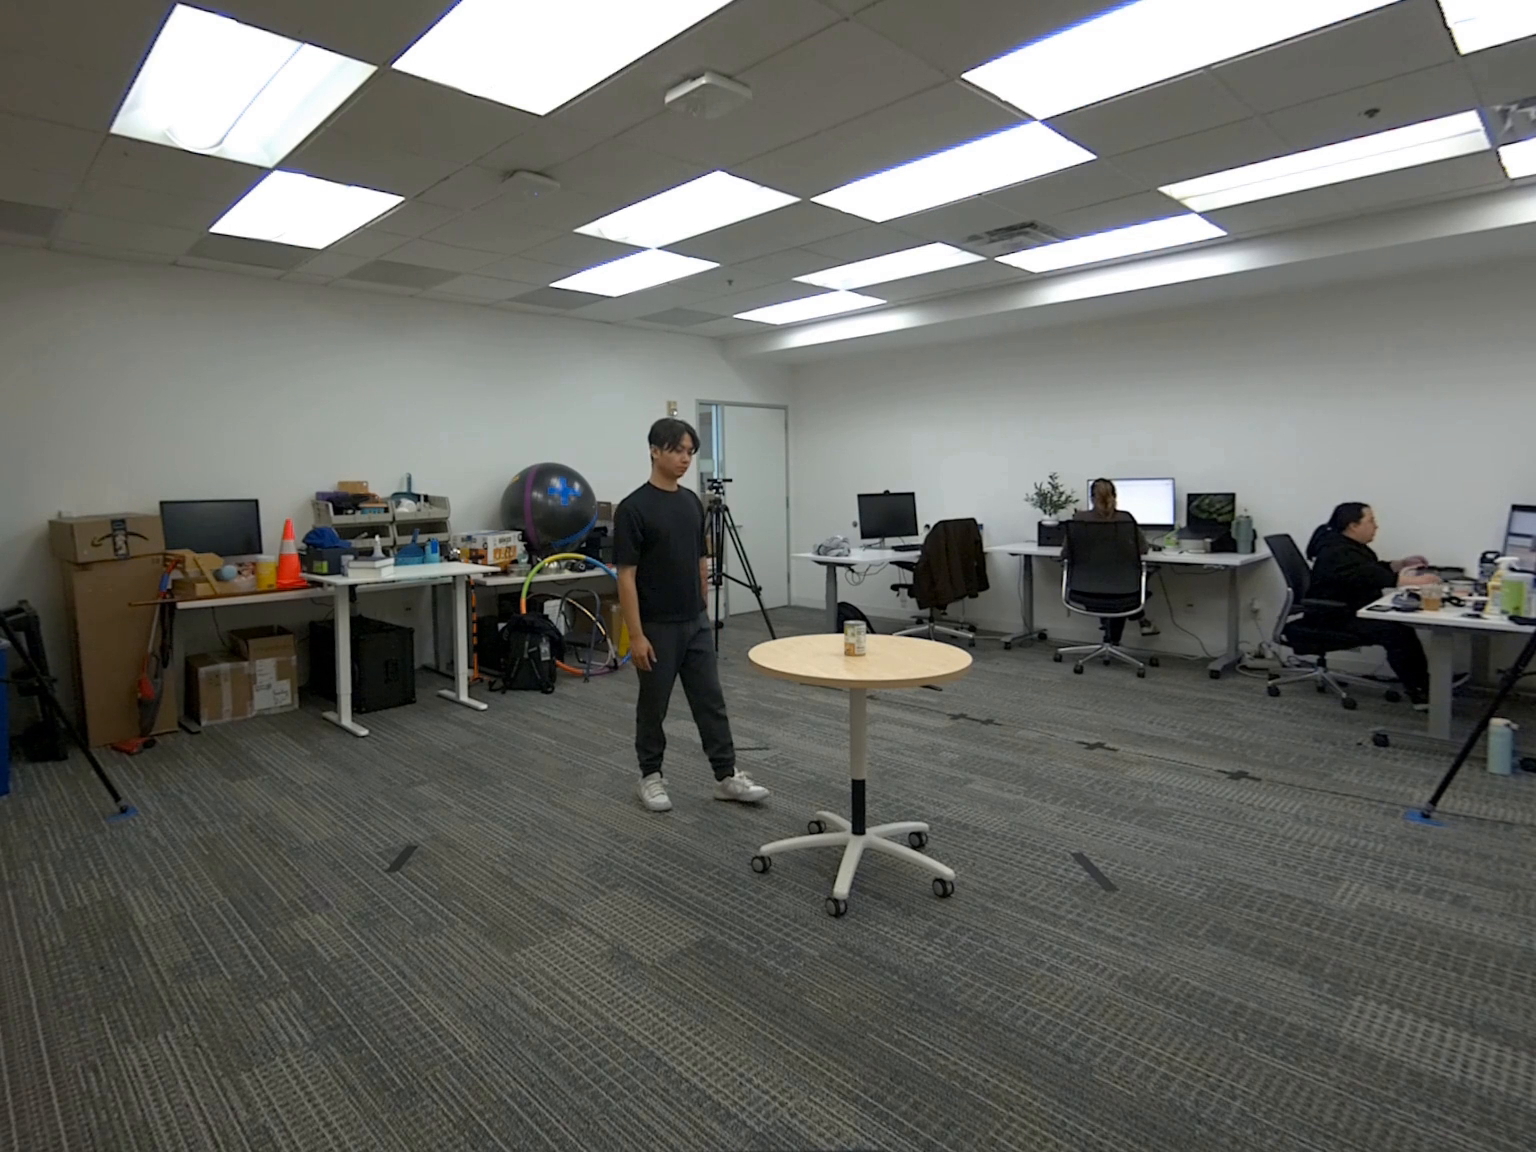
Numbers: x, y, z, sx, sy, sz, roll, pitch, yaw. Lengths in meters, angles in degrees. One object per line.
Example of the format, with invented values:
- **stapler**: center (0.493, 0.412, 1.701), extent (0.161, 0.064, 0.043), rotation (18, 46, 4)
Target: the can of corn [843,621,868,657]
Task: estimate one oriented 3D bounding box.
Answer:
- **can of corn**: center (0.308, 0.219, 2.971), extent (0.074, 0.110, 0.075), rotation (-1, 7, -2)
